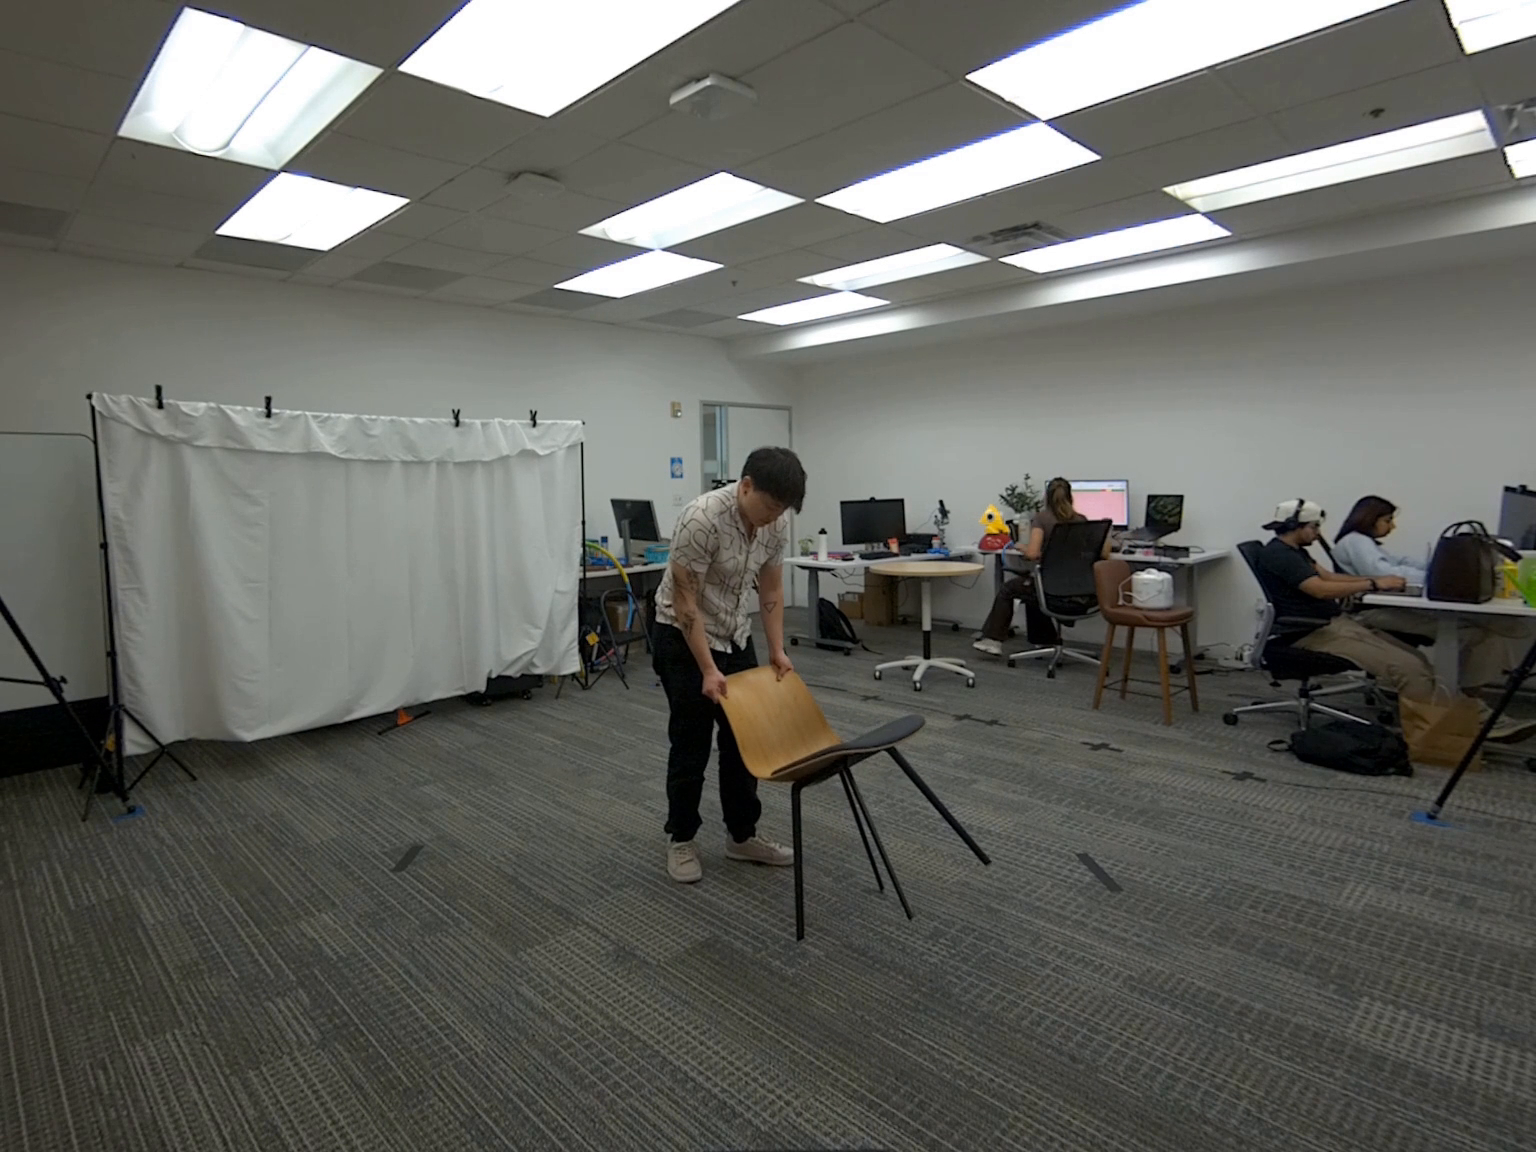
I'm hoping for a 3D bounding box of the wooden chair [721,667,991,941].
[{"bbox_3d":[0.232,0.597,2.705,0.465,0.897,0.525,-5,-27,-46],"label":"wooden chair"}]
